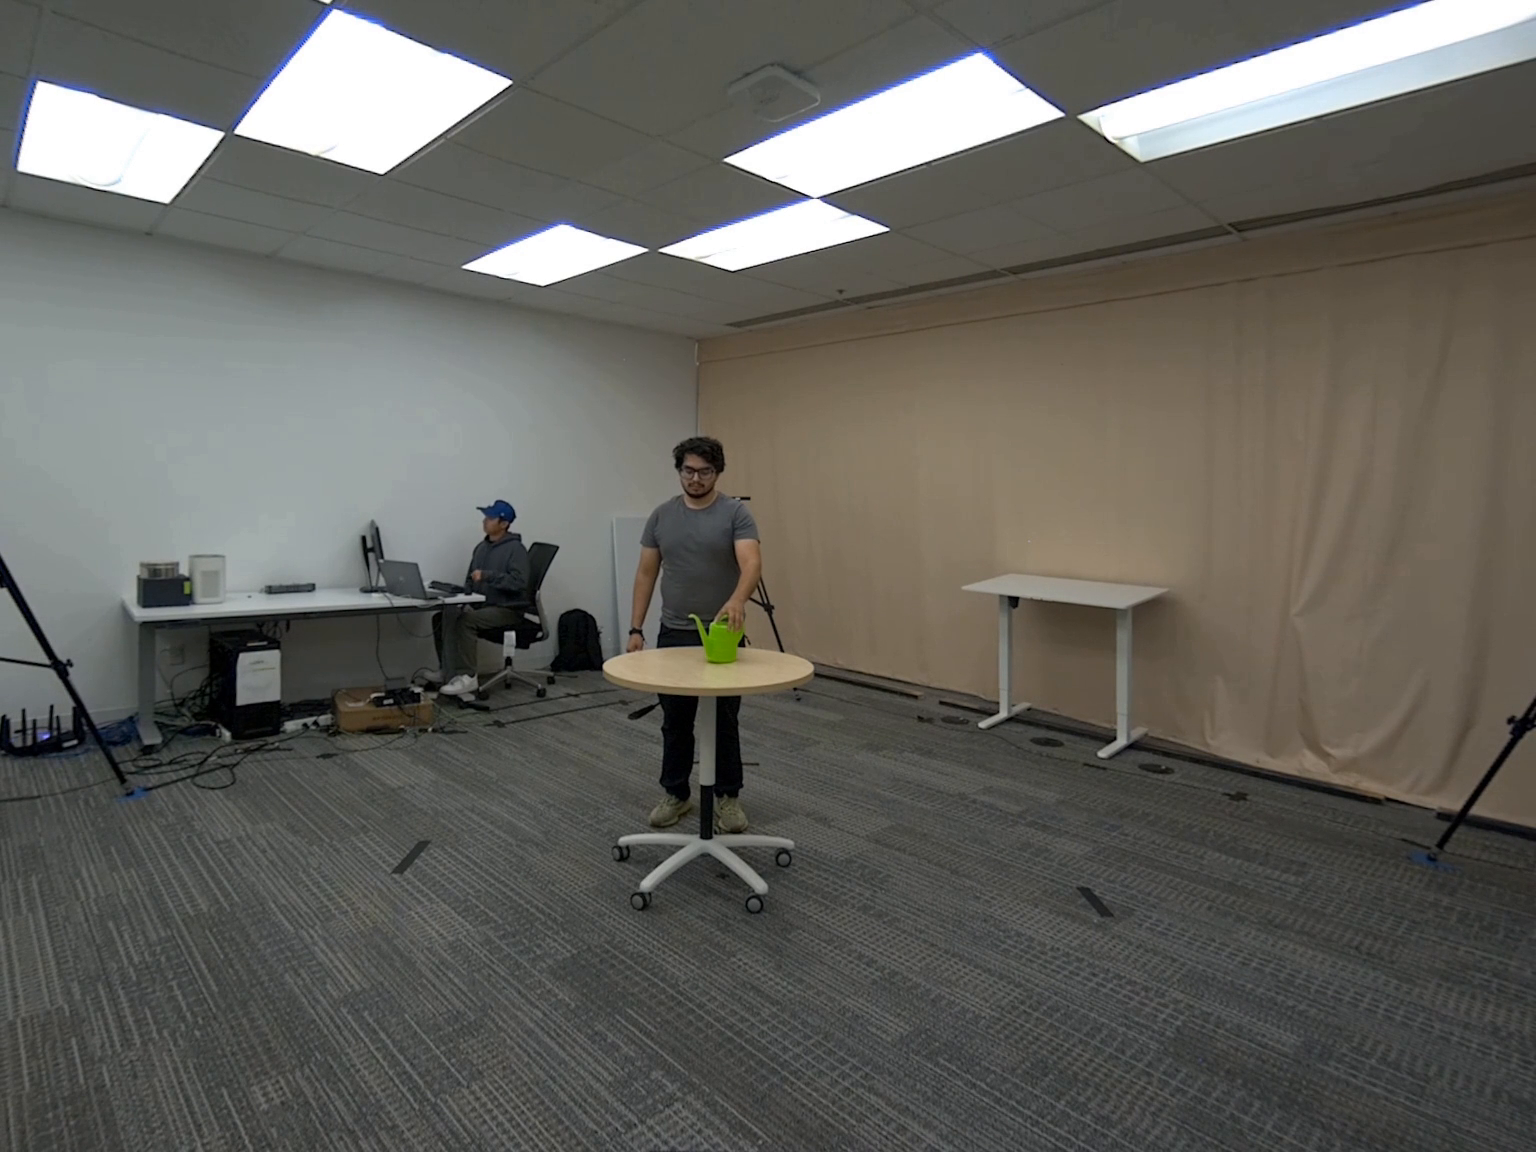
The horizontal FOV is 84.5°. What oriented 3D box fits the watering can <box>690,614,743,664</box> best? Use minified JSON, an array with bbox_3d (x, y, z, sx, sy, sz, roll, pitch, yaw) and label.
[{"bbox_3d":[-0.214,0.229,3.106,0.272,0.176,0.100,4,6,-35],"label":"watering can"}]
